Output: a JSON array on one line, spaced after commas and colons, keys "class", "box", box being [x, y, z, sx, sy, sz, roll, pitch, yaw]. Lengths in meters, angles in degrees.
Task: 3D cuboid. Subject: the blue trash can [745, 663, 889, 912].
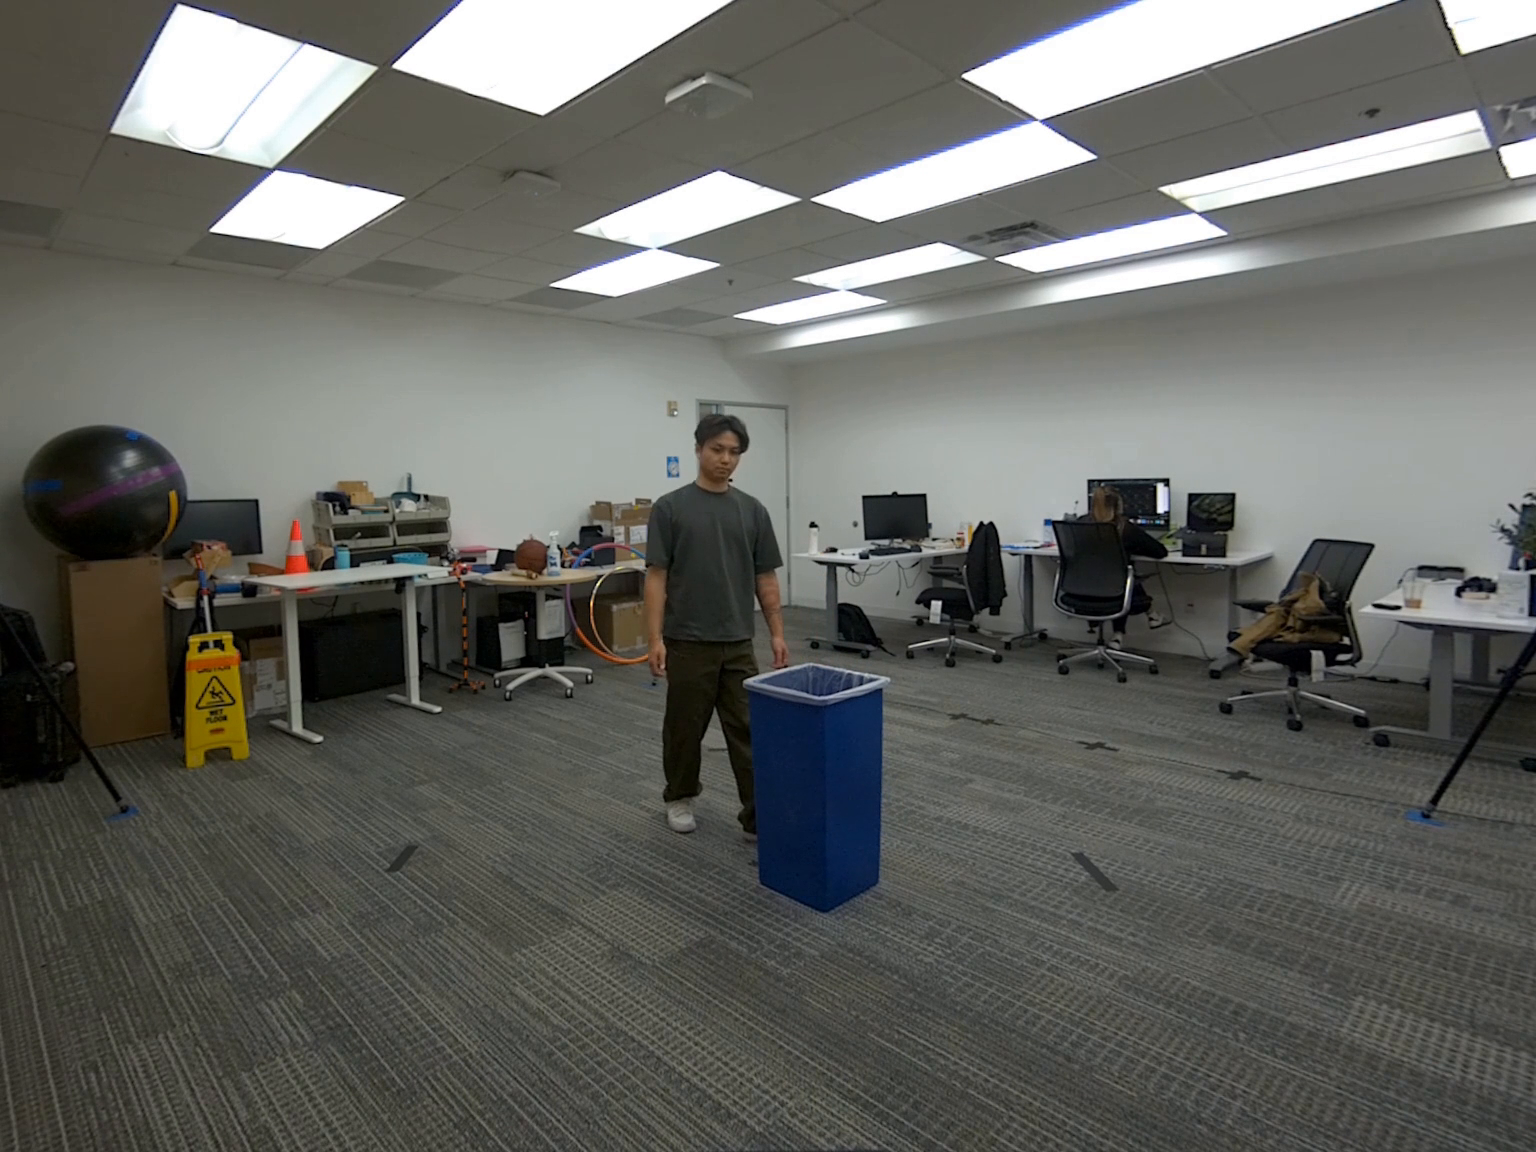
[{"class": "blue trash can", "box": [0.183, 0.704, 2.922, 0.385, 0.711, 0.368, 2, 5, 44]}]
